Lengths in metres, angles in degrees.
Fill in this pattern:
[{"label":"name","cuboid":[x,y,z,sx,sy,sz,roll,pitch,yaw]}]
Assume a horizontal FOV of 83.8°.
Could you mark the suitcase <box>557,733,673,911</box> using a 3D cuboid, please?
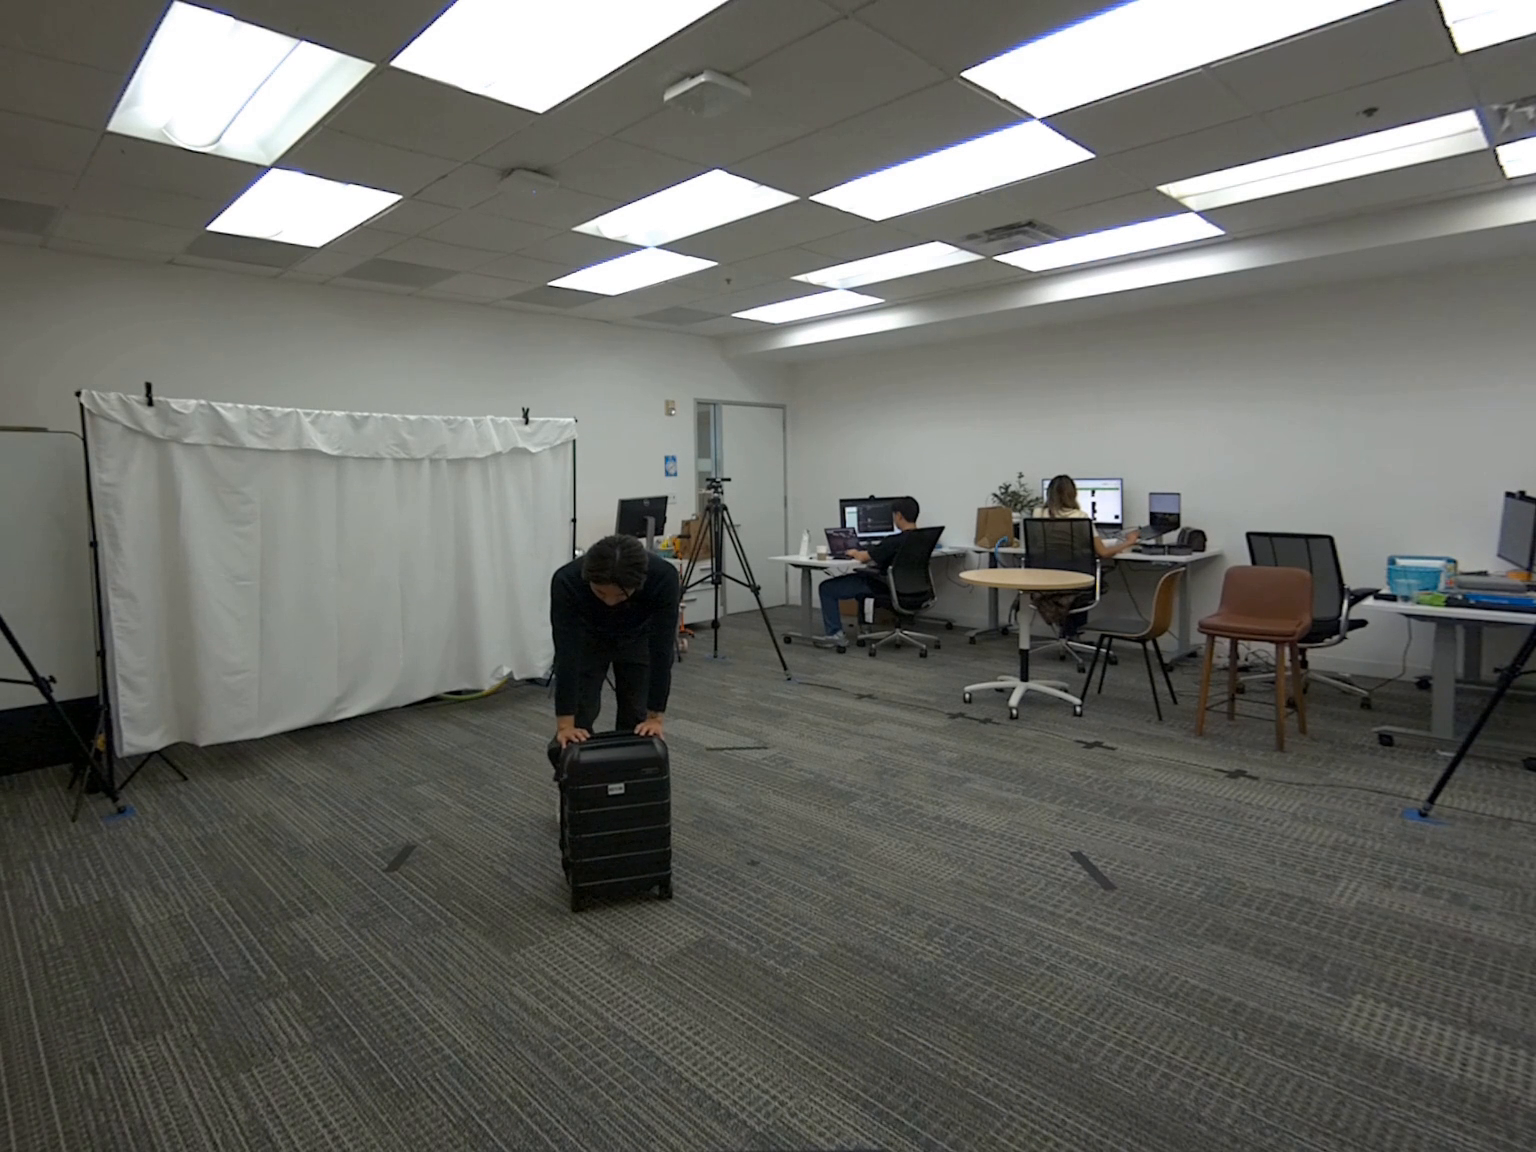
[{"label":"suitcase","cuboid":[-0.507,0.807,2.887,0.370,0.547,0.253,-2,6,-16]}]
